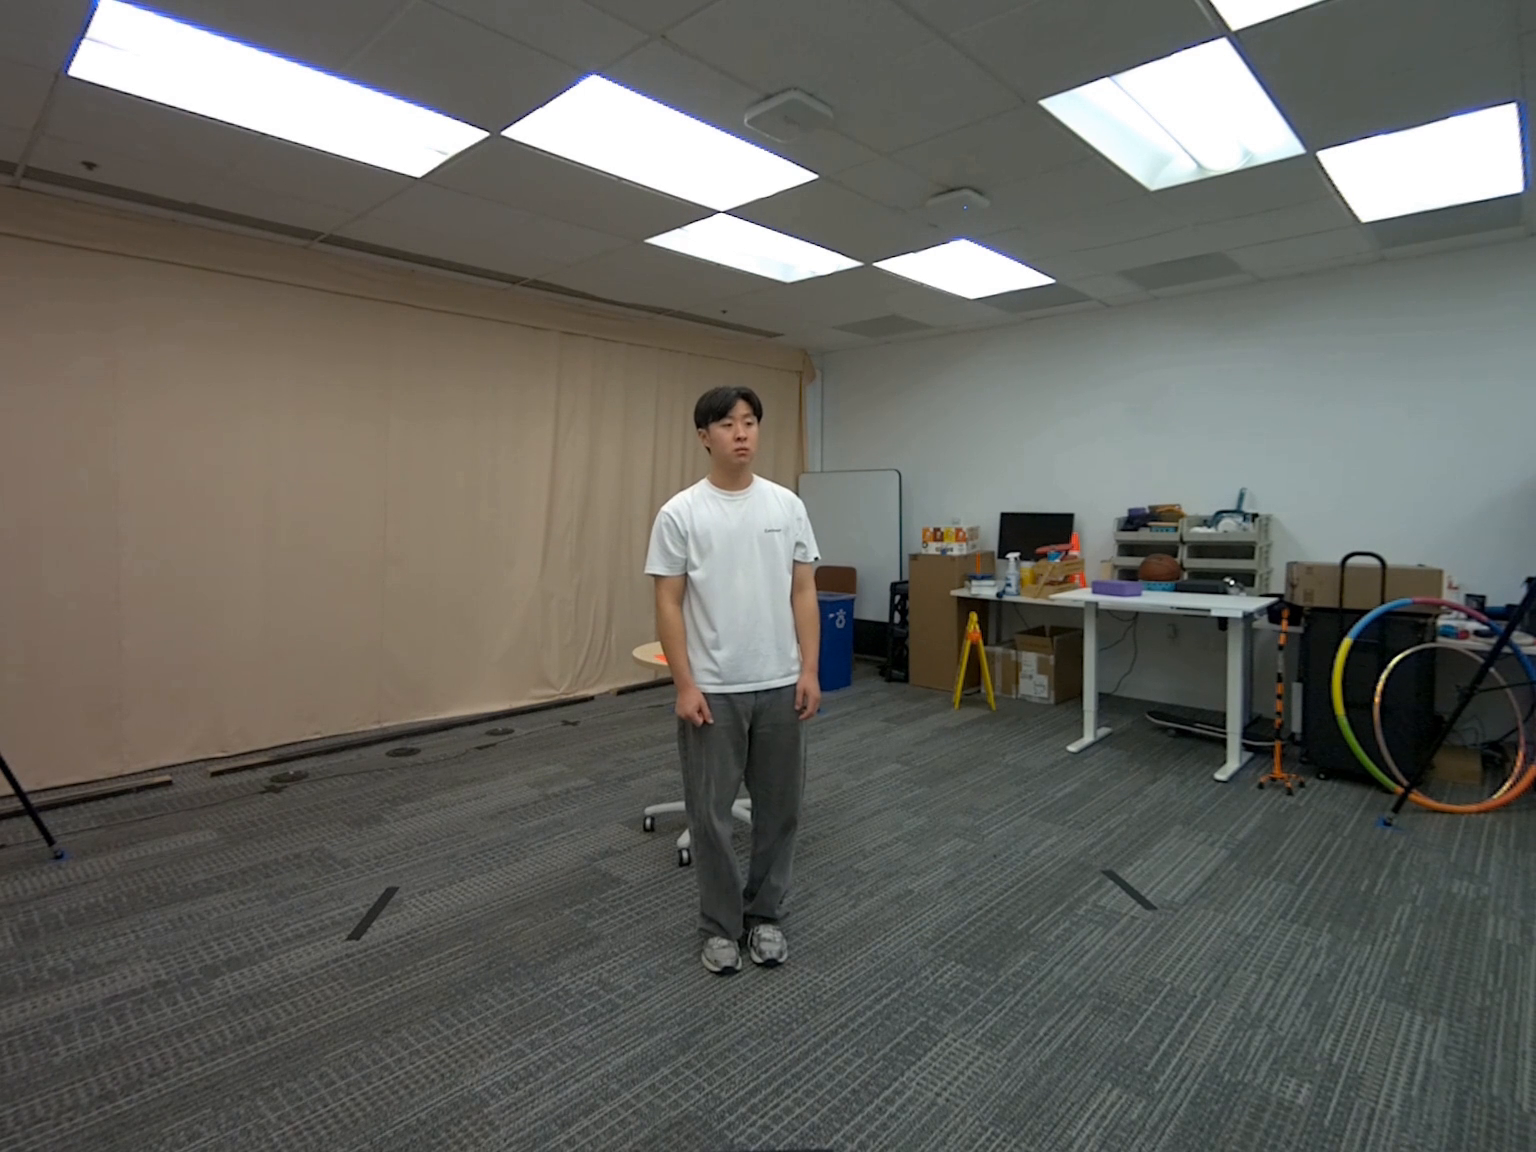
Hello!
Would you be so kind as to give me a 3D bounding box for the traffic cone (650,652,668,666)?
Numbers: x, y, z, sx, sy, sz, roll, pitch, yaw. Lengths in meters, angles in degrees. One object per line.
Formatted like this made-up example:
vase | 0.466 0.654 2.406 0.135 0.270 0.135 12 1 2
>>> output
traffic cone | -0.315 0.143 3.352 0.199 0.383 0.210 0 5 -34
